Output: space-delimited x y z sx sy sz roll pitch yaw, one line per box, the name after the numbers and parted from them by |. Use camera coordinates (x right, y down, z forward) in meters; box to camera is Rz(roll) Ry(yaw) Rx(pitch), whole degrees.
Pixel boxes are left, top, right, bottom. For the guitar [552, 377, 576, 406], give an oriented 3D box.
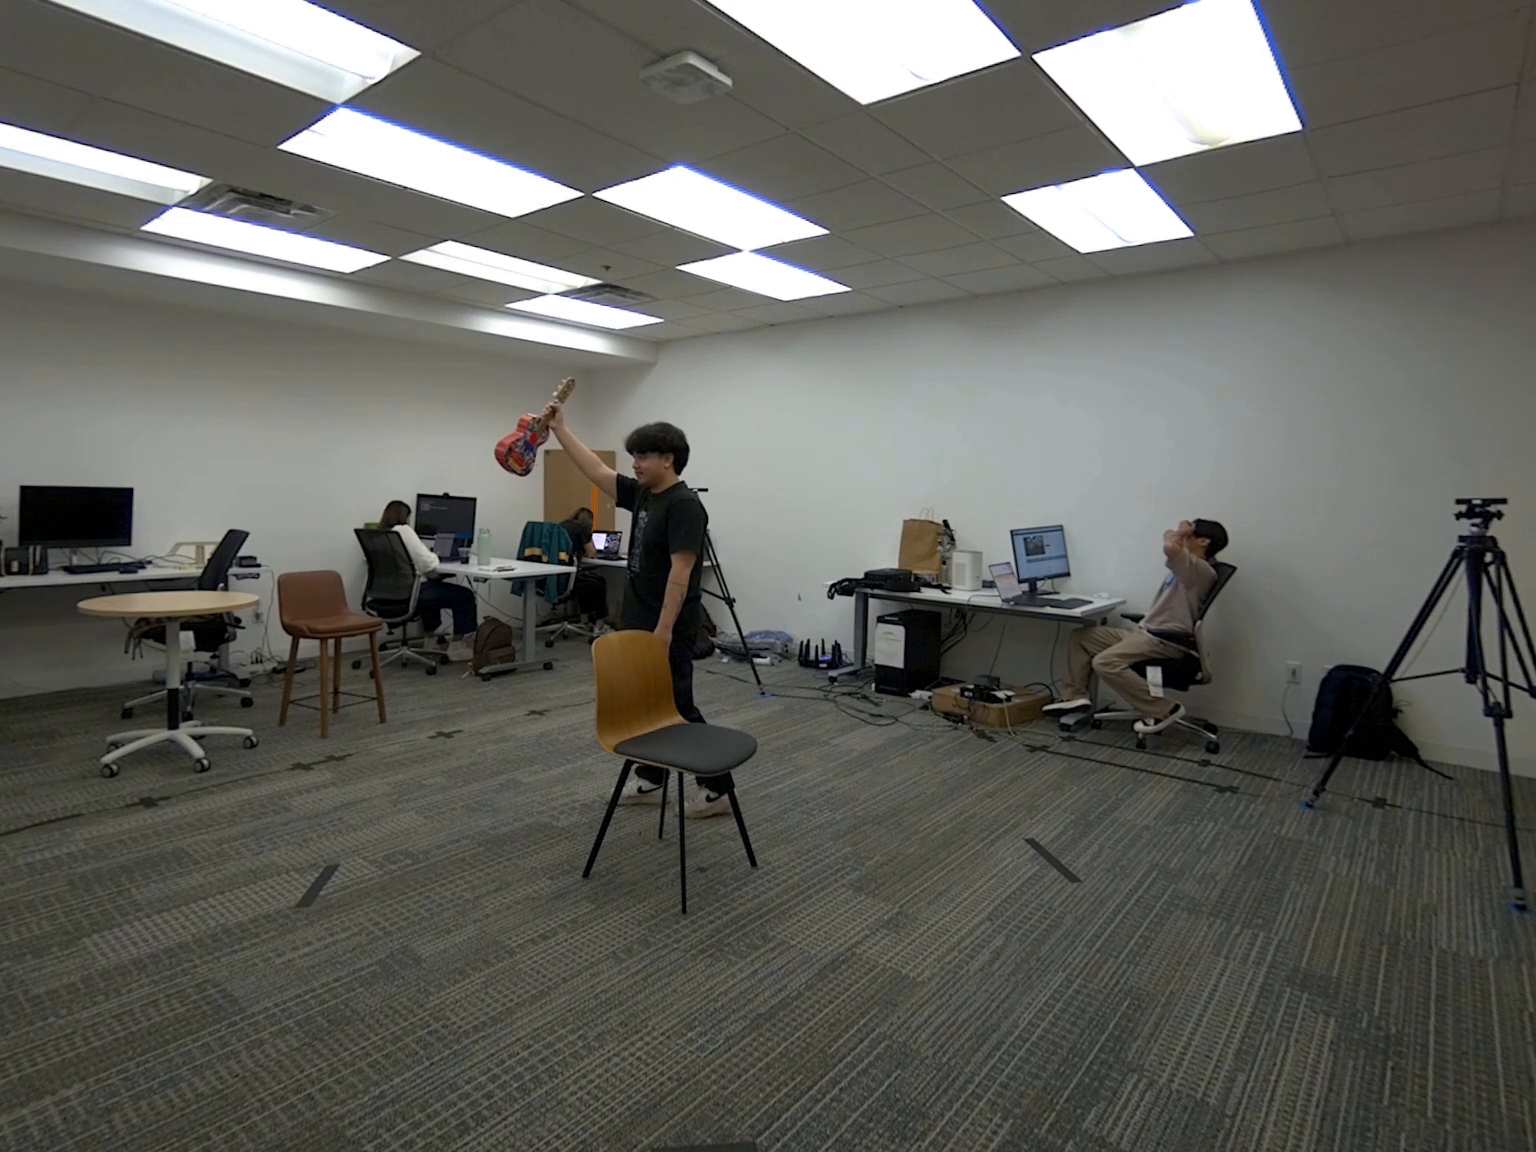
-1.006 -0.653 3.741 0.073 0.500 0.185 20 -24 30 | guitar
